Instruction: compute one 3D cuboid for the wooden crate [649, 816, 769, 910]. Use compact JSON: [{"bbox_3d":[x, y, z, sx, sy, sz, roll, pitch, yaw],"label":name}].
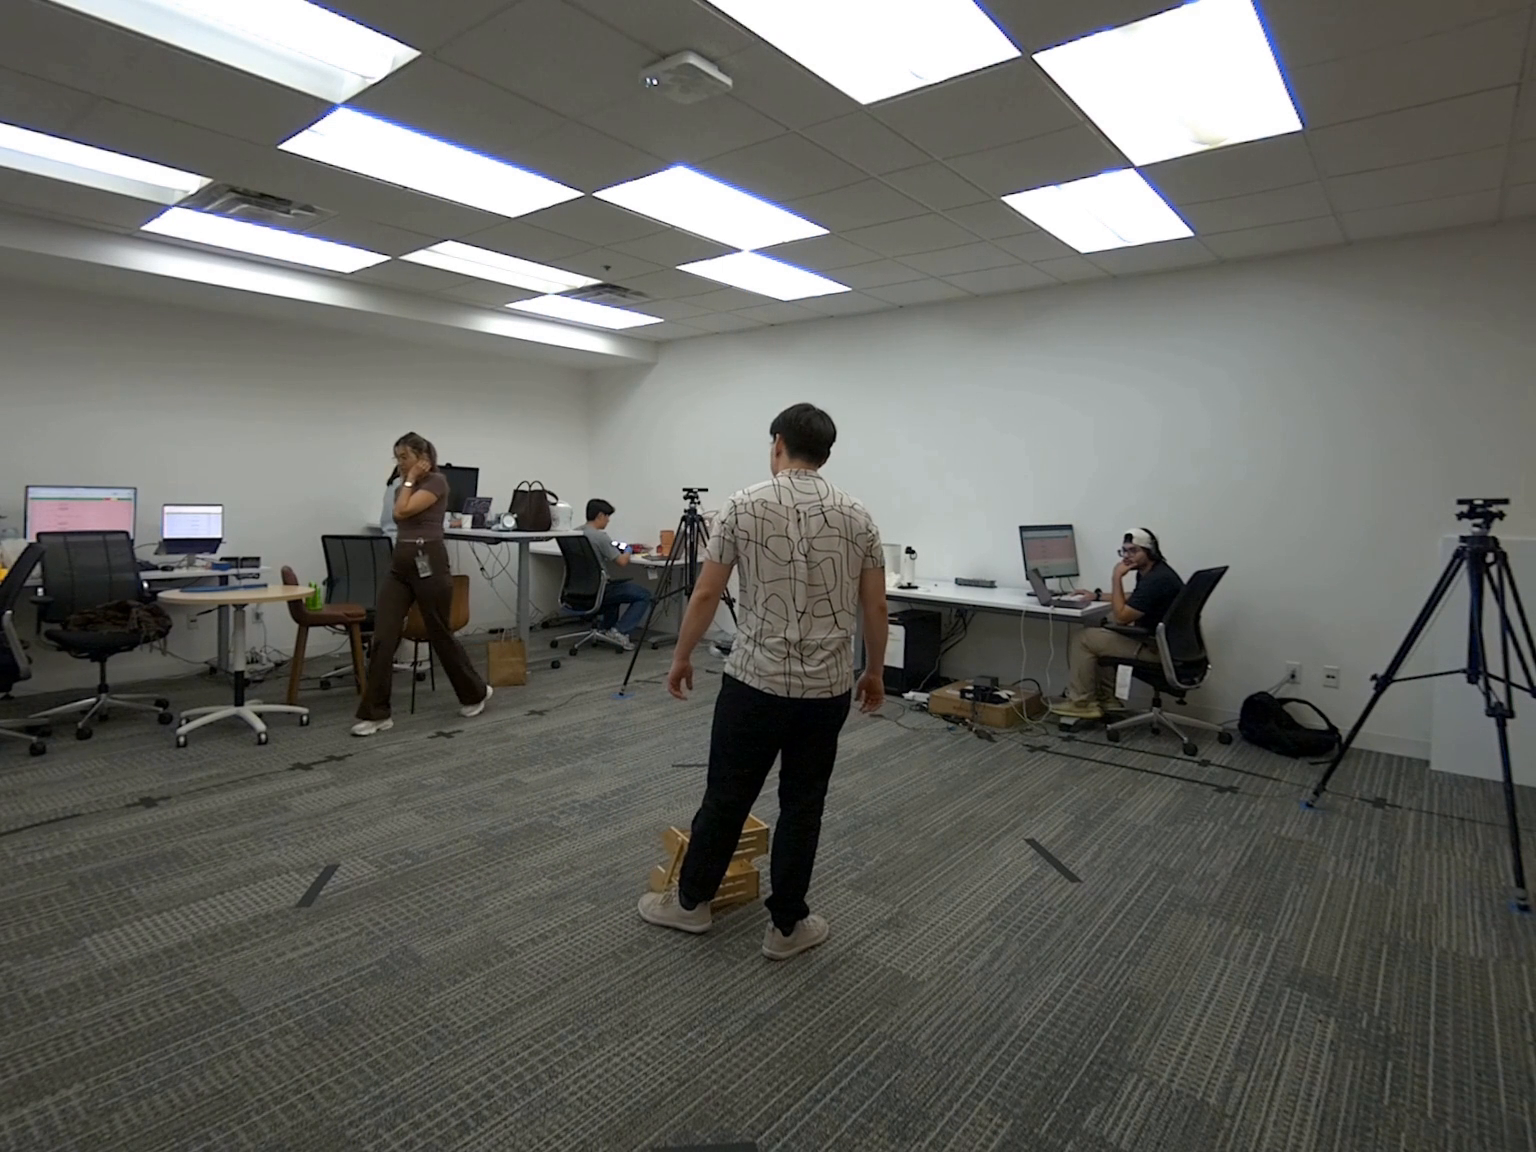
[{"bbox_3d":[-0.218,0.953,2.913,0.315,0.272,0.311,-1,5,-32],"label":"wooden crate"}]
